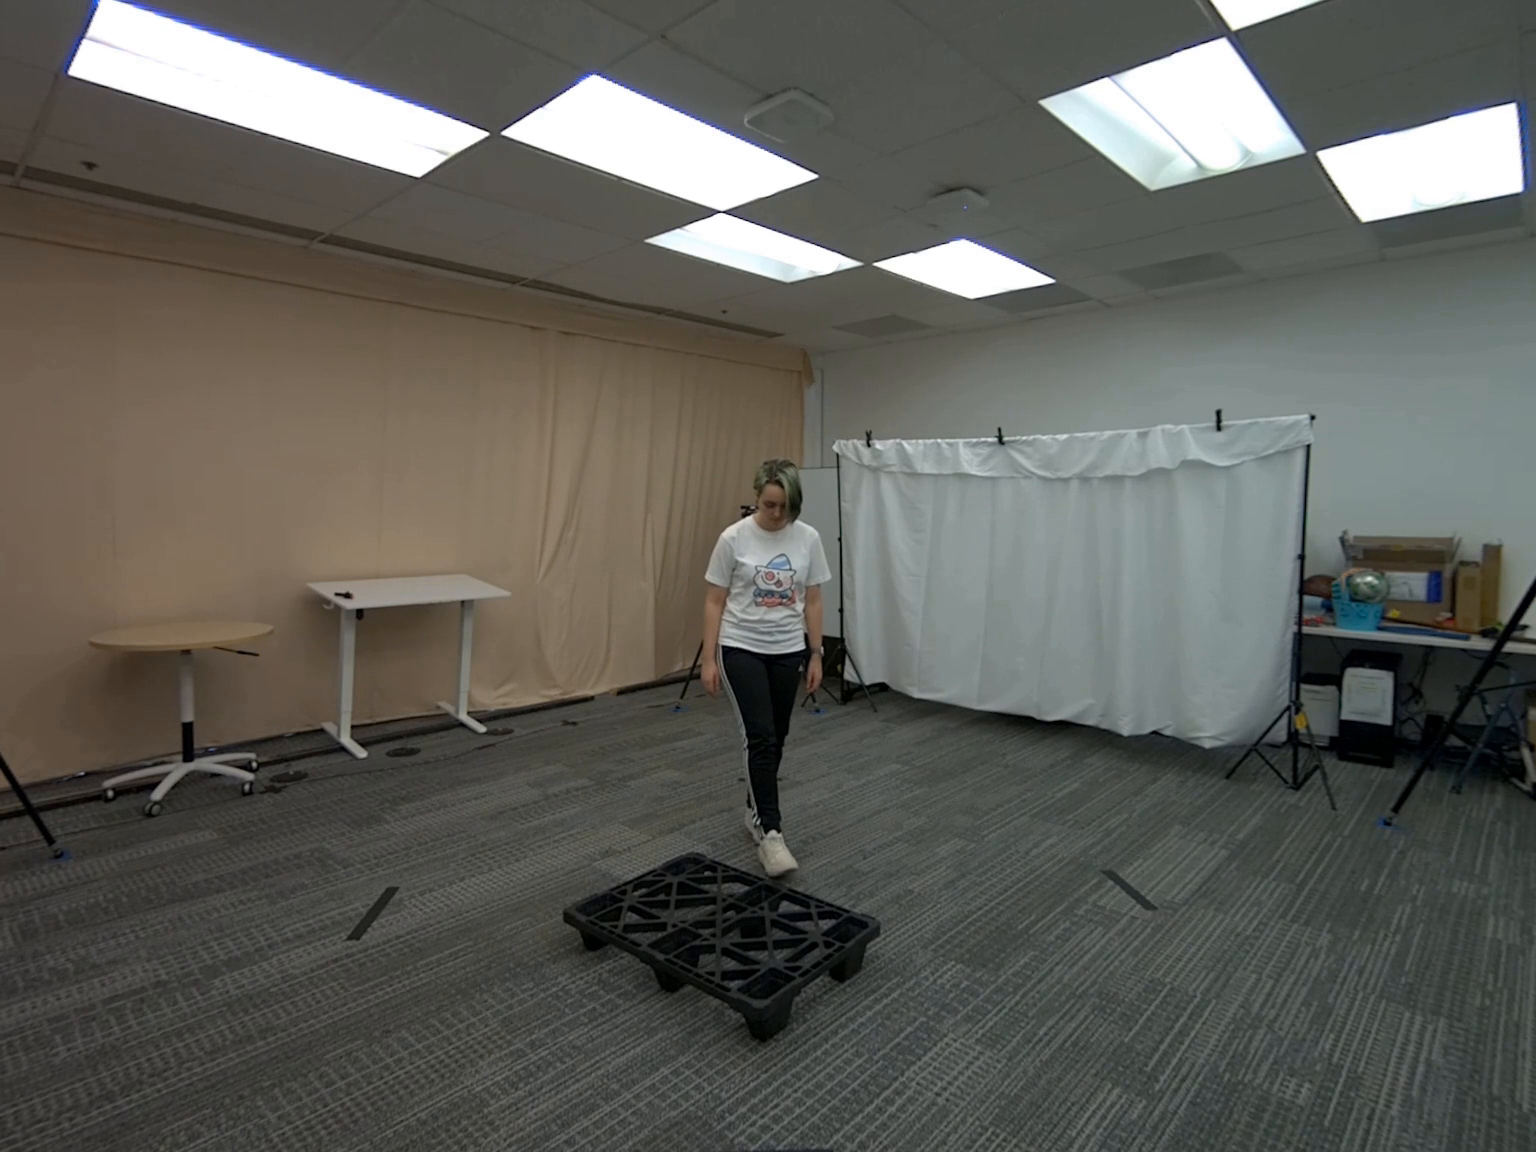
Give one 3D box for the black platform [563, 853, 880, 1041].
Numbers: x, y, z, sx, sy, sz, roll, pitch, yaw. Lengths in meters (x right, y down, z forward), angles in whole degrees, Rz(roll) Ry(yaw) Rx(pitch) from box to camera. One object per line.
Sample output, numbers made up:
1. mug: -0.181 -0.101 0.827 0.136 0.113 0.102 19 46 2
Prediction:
1. black platform: -0.150 1.111 2.597 0.832 0.143 0.587 4 6 40
